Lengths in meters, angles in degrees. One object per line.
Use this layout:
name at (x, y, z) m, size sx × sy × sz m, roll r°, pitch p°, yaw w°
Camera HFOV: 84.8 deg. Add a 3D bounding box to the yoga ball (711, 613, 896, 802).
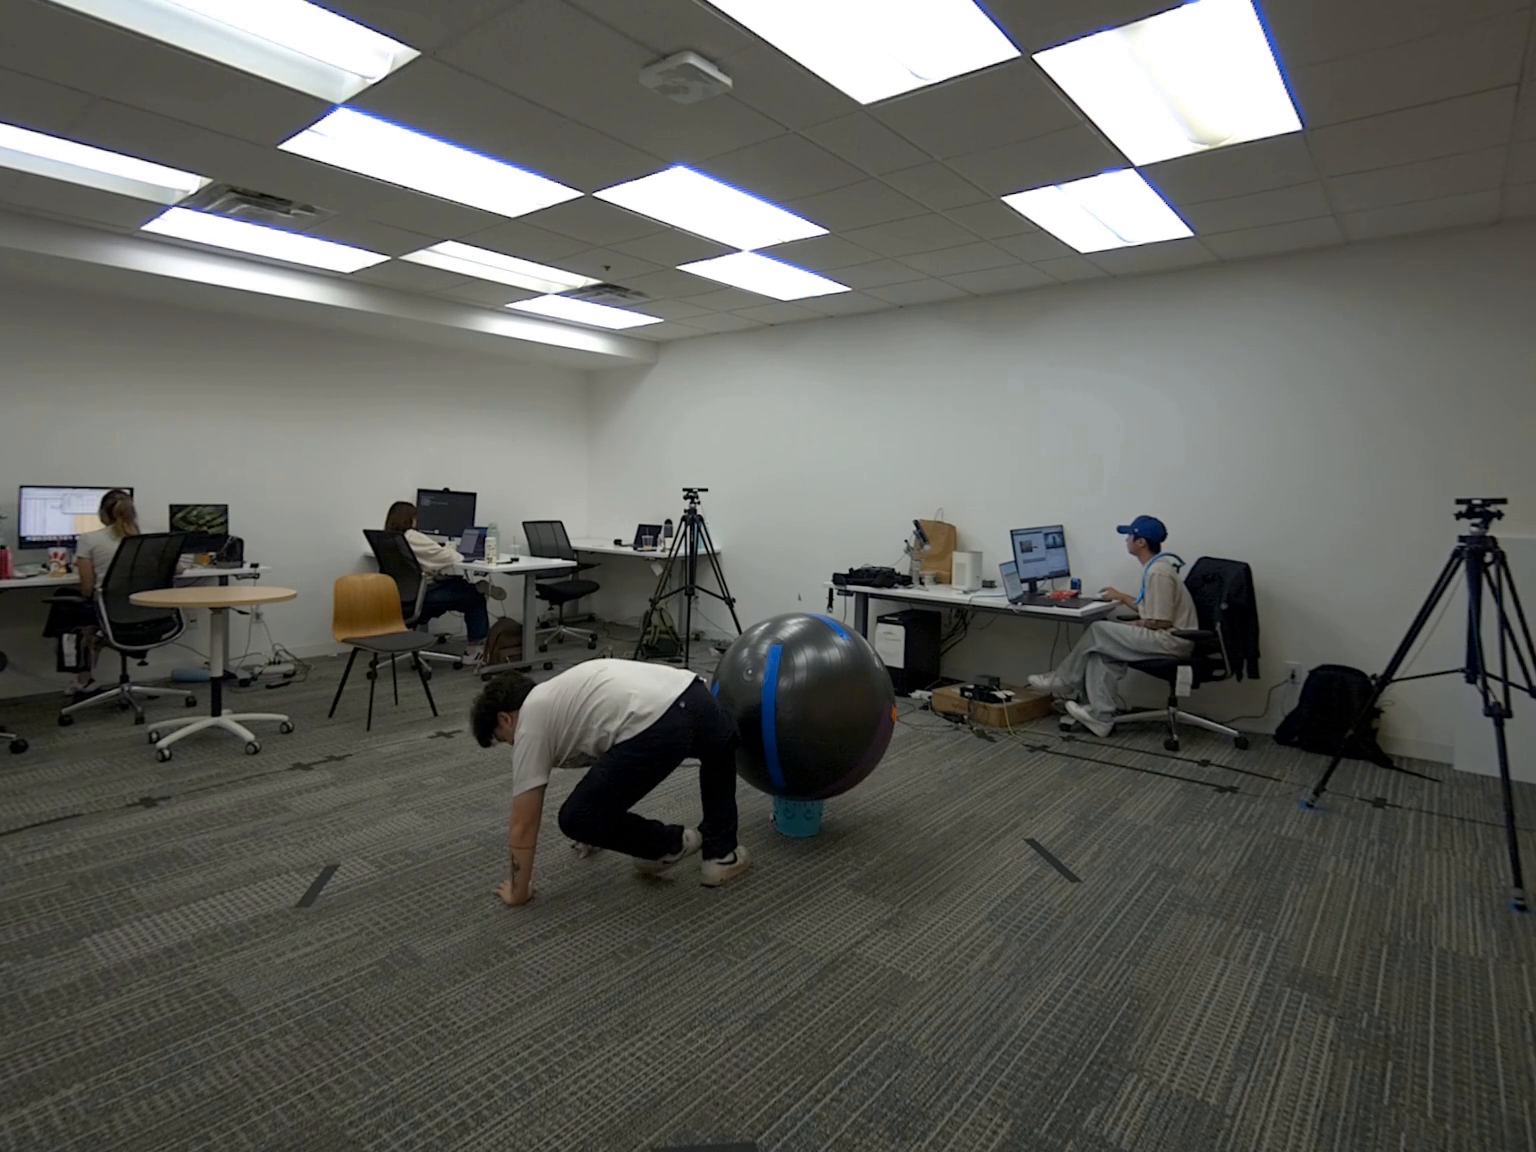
yoga ball at (0.129, 0.530, 3.486) m, size 0.757 × 0.755 × 0.762 m, roll 1°, pitch 4°, yaw -2°
